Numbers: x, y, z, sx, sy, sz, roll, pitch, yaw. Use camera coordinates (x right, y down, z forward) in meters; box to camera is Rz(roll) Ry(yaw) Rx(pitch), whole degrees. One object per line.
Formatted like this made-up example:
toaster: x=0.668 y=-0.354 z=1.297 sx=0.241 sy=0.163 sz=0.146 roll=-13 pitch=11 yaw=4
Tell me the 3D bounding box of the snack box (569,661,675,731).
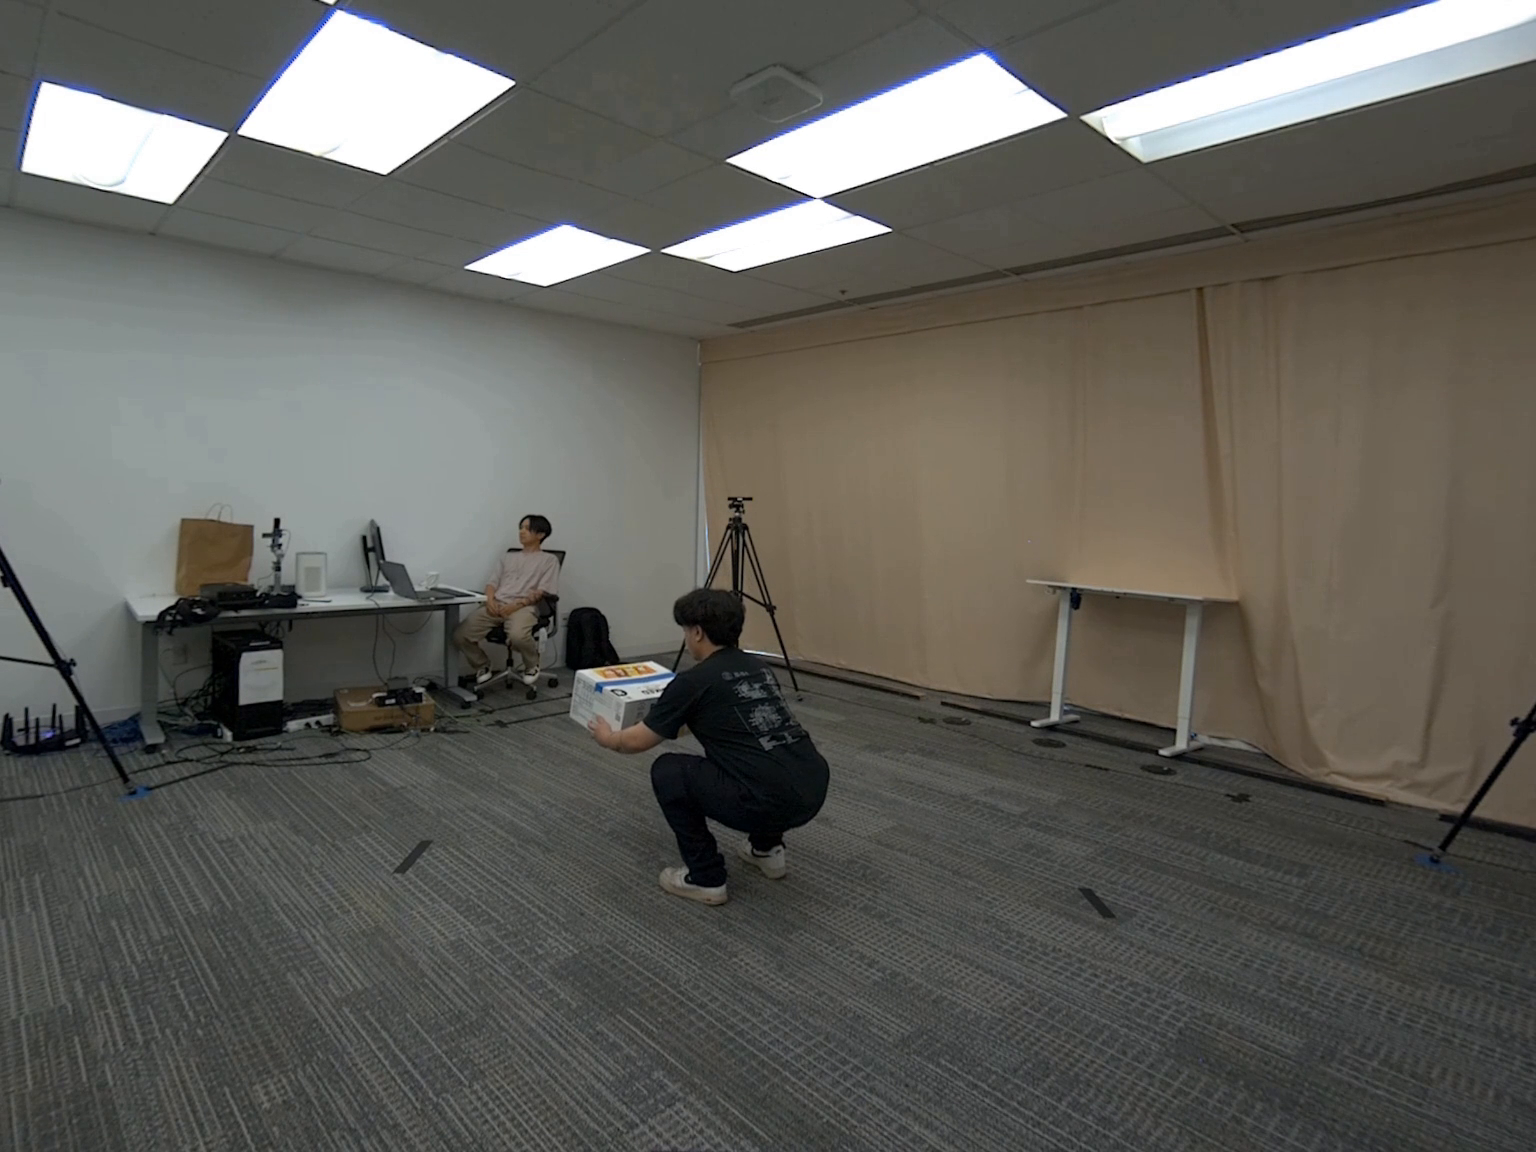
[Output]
snack box: x=-0.546 y=0.523 z=3.458 sx=0.350 sy=0.204 sz=0.396 roll=20 pitch=15 yaw=42
